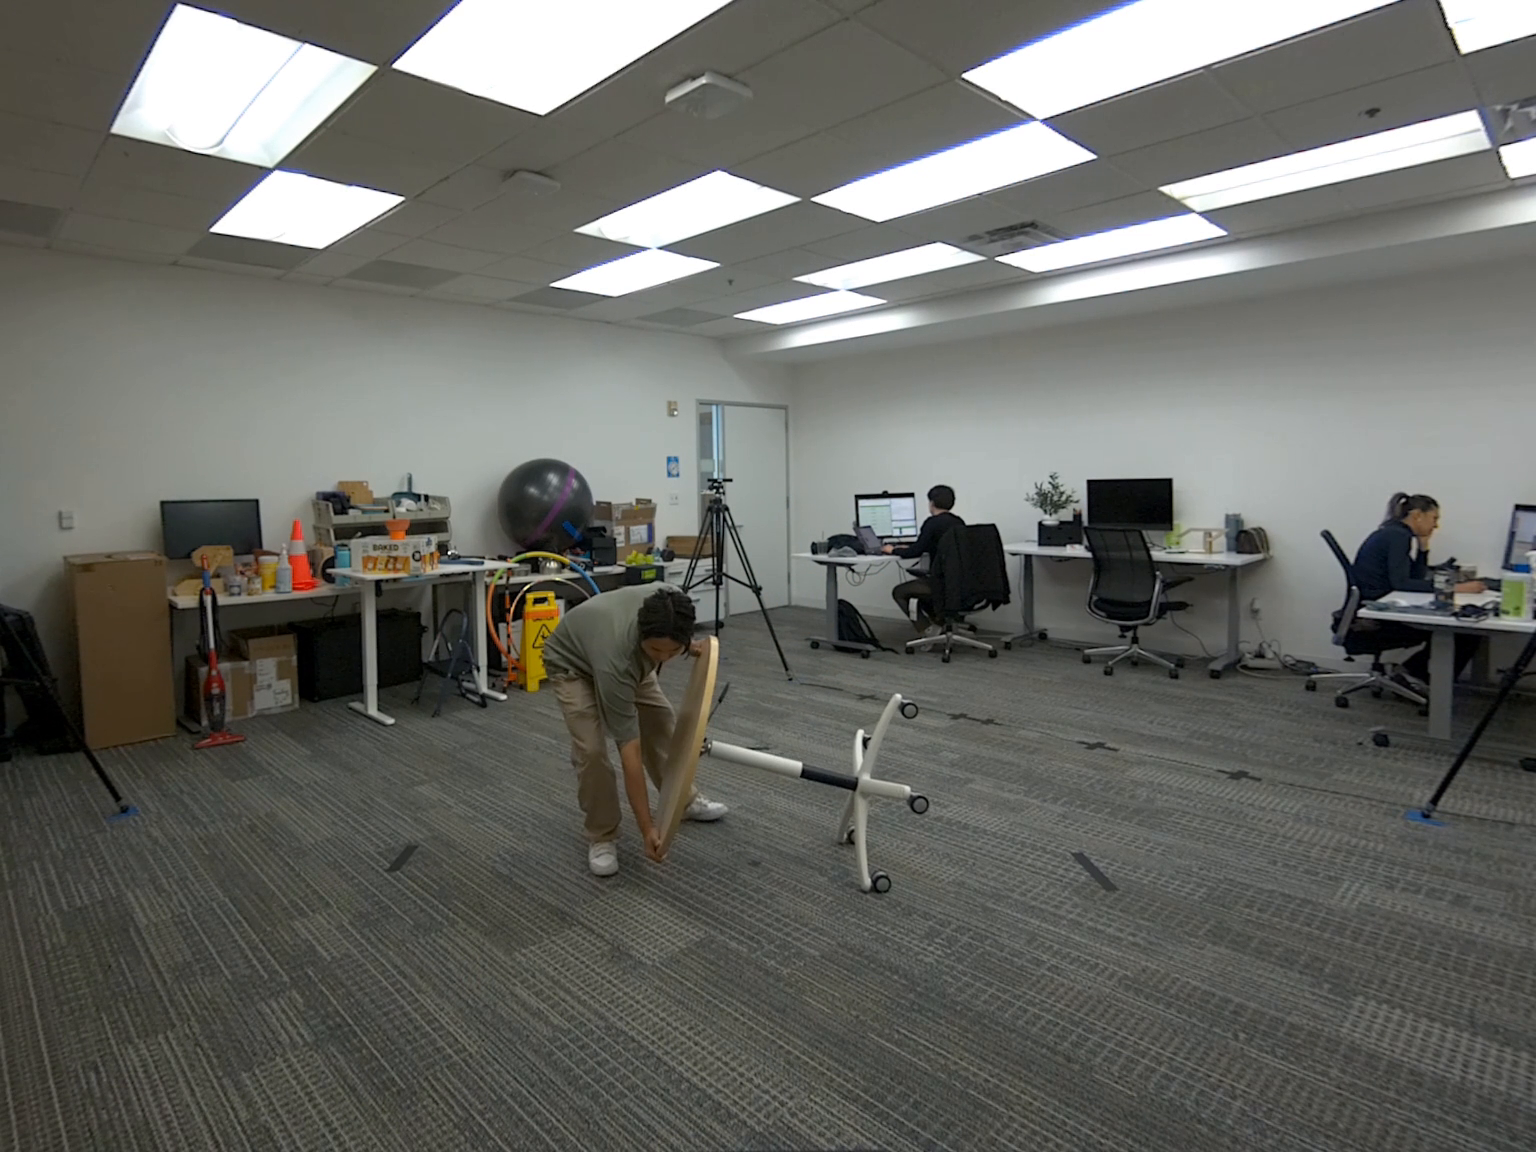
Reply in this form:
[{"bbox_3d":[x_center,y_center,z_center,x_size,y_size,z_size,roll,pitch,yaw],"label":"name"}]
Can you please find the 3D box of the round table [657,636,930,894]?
[{"bbox_3d":[0.079,0.669,3.030,0.781,0.784,0.793,14,3,-7],"label":"round table"}]
